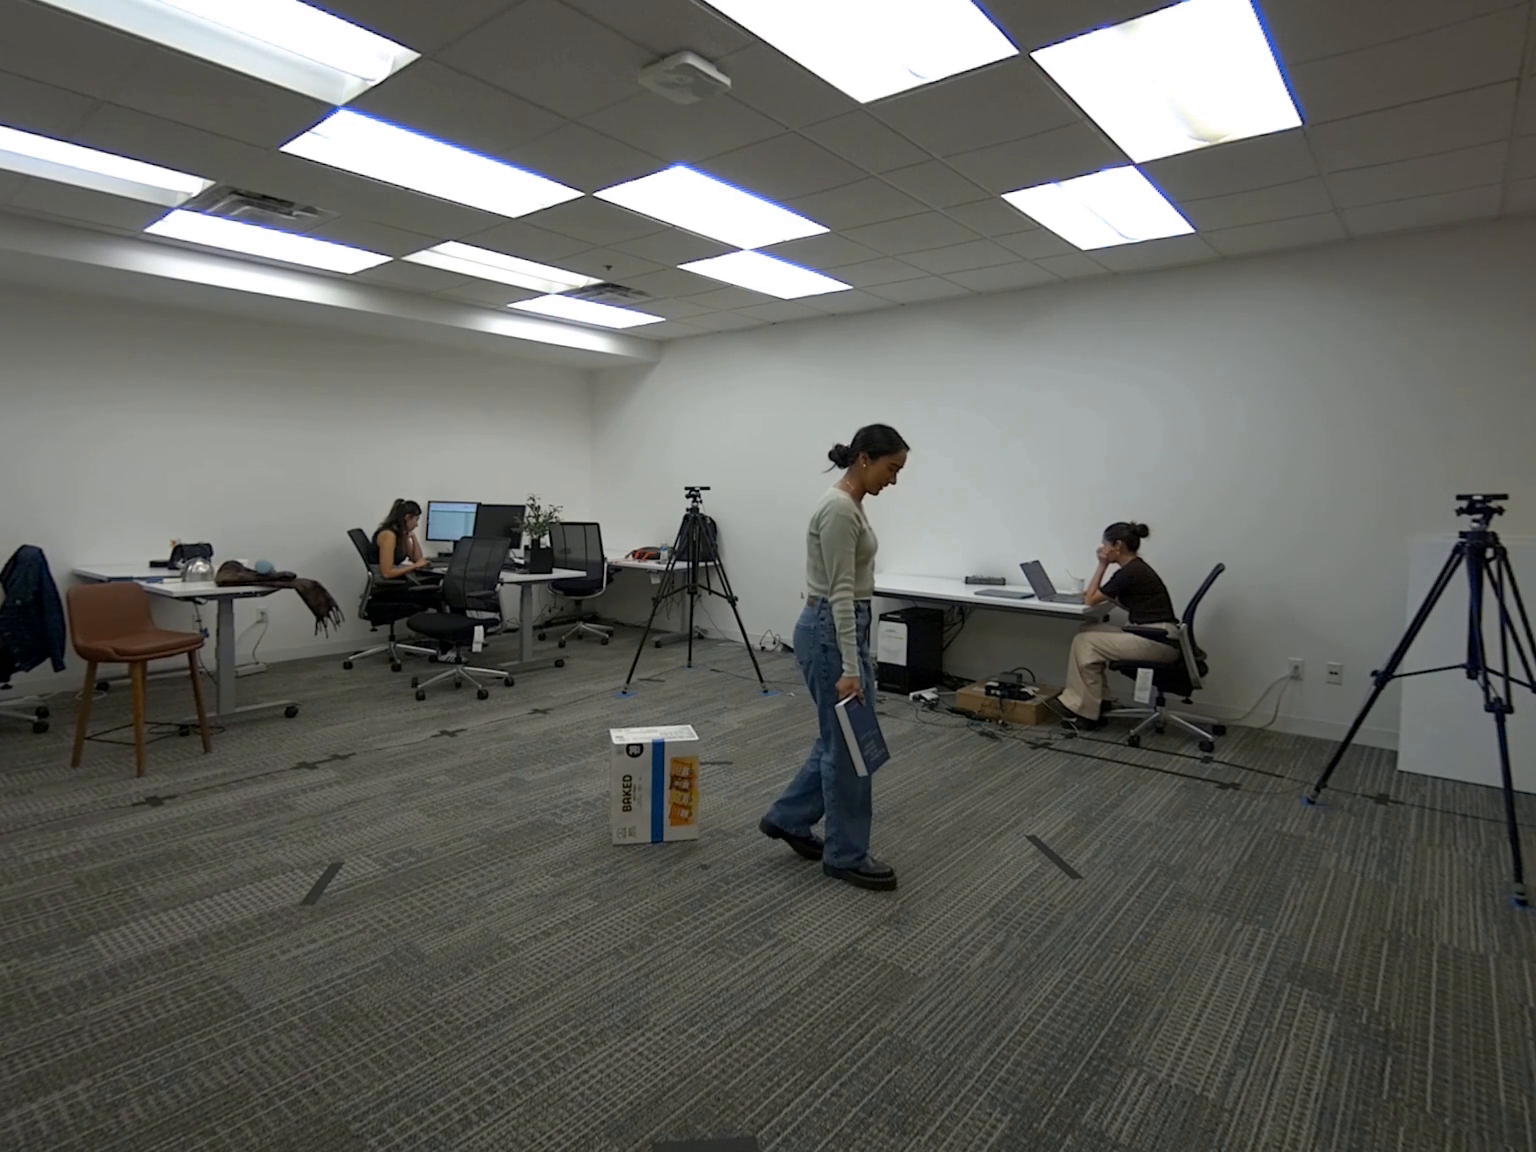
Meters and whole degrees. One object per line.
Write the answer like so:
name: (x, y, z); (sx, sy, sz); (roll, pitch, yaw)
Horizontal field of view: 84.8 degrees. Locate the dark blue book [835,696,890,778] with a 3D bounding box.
dark blue book: (0.297, 0.507, 2.767); (0.046, 0.246, 0.160); (-20, -1, 35)
